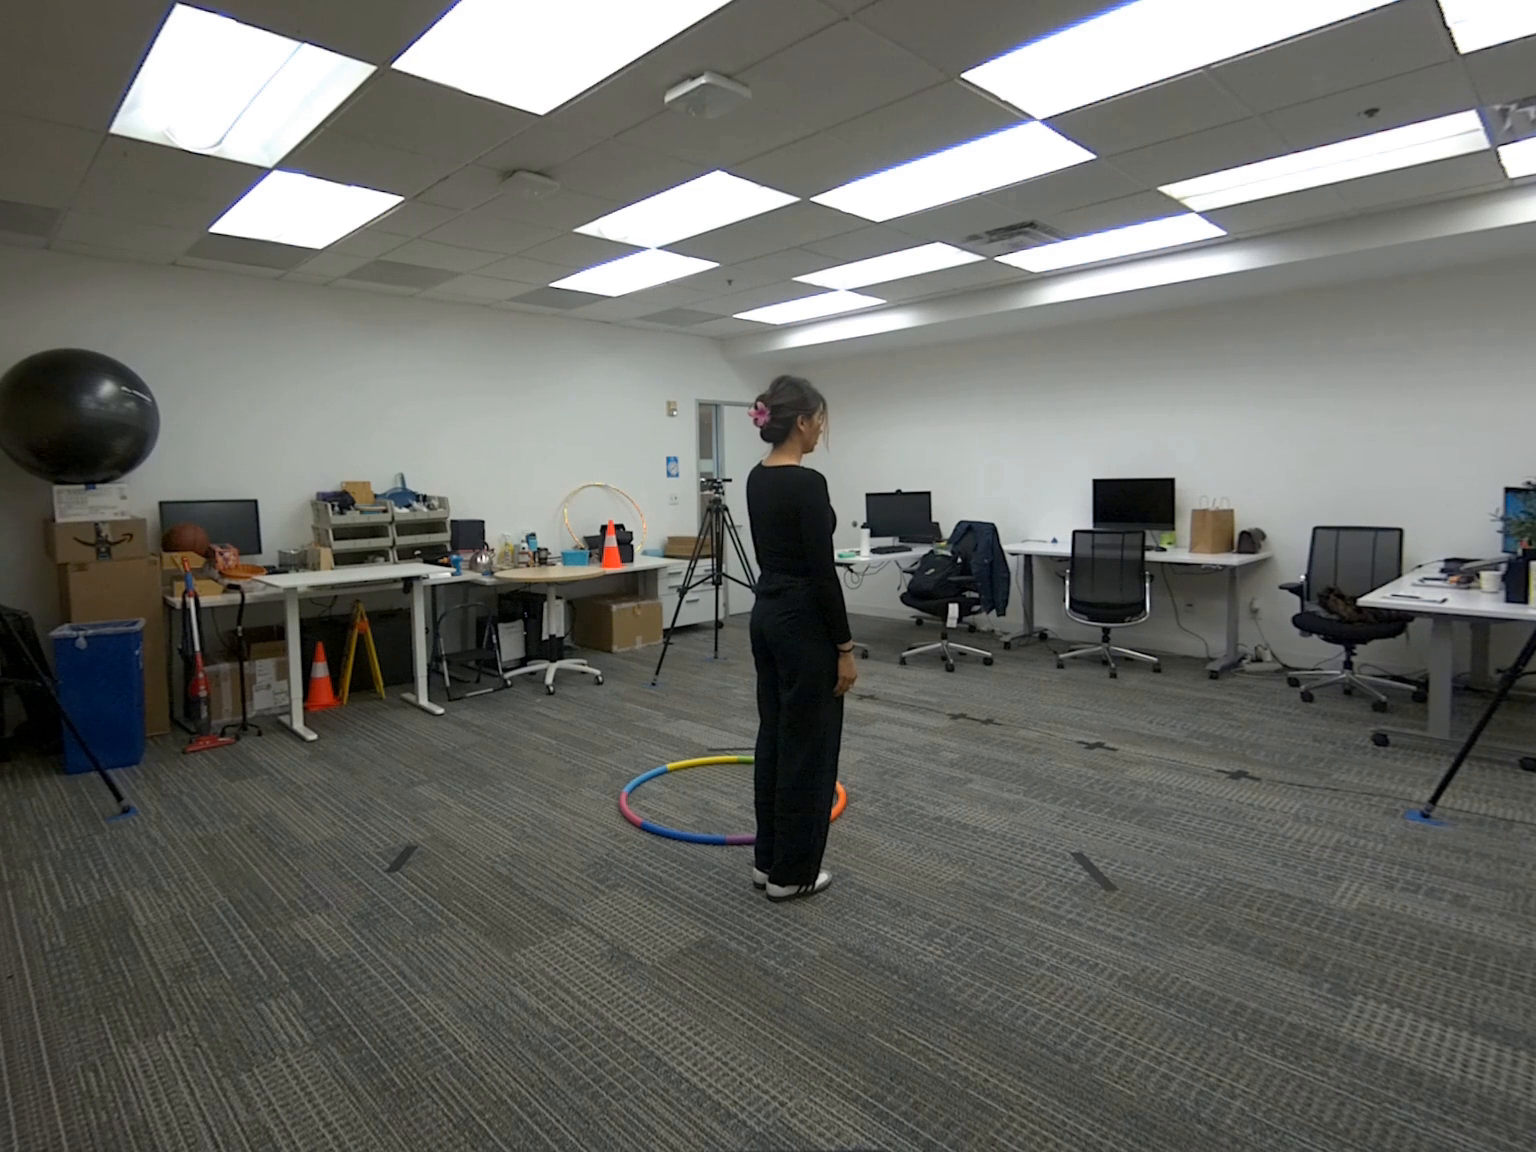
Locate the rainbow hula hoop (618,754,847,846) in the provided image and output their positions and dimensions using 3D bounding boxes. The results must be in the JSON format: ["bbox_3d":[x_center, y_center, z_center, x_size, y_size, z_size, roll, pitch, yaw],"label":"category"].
[{"bbox_3d":[-0.159,0.948,3.742,0.985,0.051,0.991,-1,7,-2],"label":"rainbow hula hoop"}]
